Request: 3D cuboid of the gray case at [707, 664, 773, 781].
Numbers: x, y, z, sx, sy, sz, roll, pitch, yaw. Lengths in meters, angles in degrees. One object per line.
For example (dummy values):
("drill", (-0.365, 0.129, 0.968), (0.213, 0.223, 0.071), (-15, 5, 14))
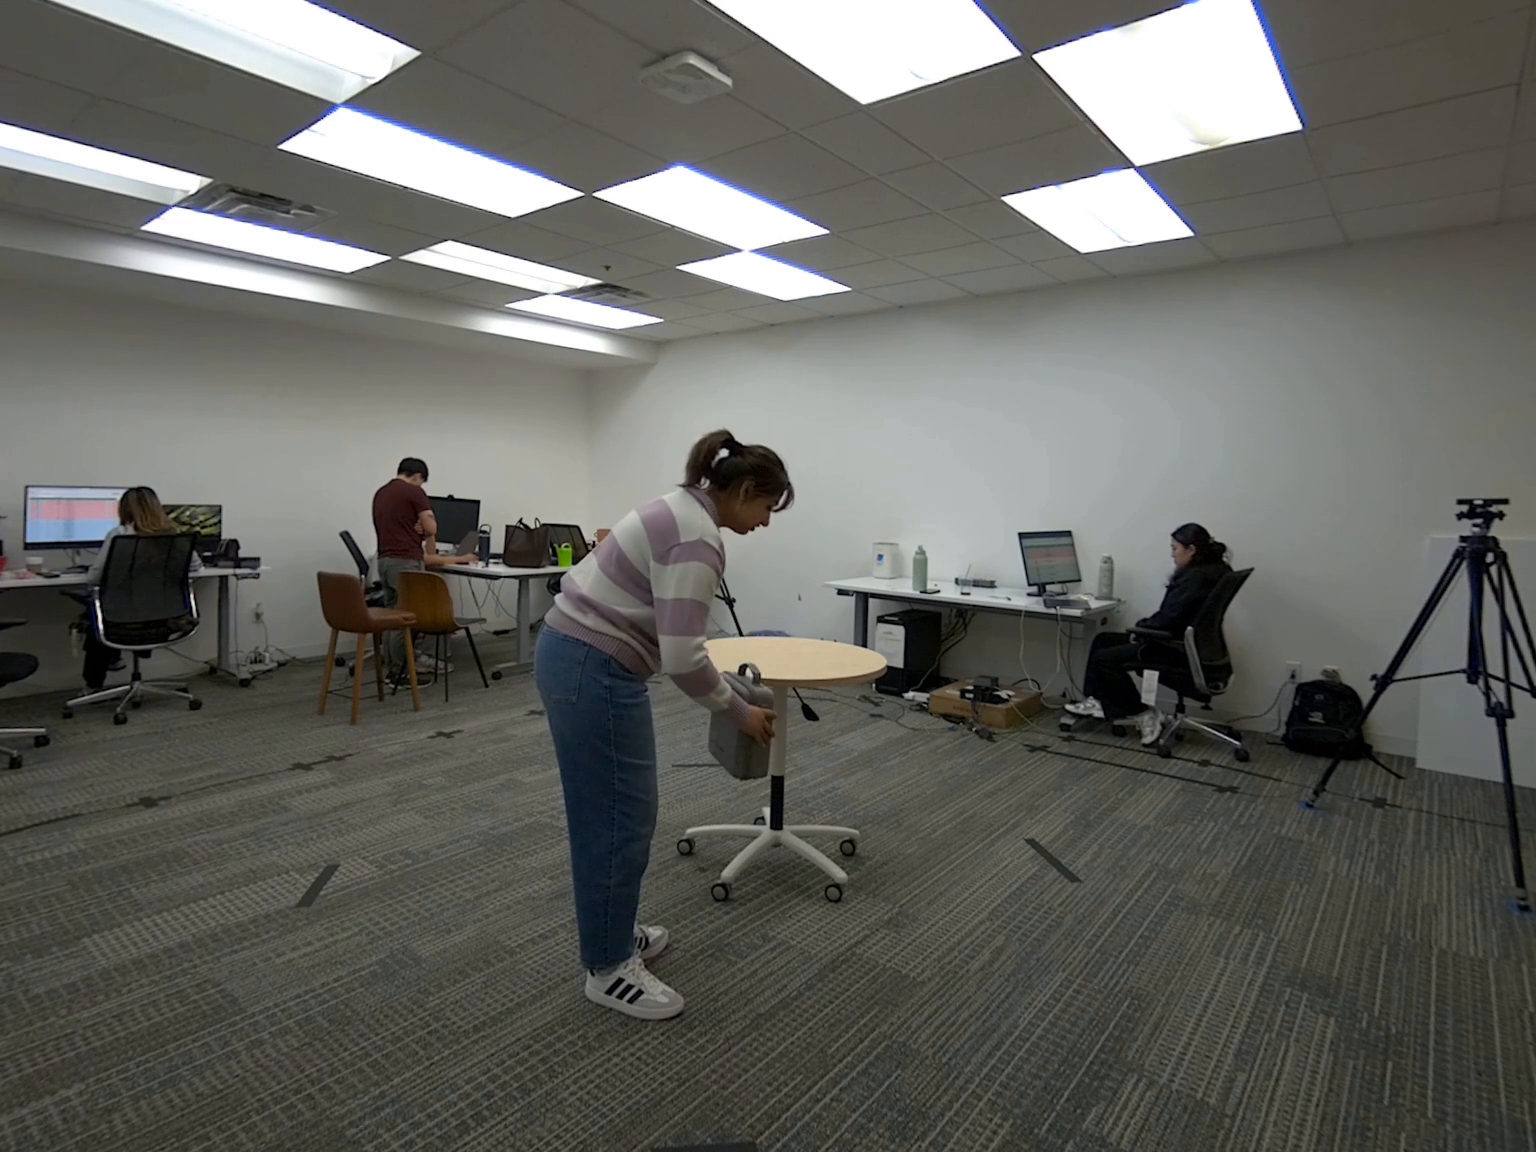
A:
("gray case", (-0.093, 0.418, 2.402), (0.102, 0.260, 0.263), (7, 4, -18))
